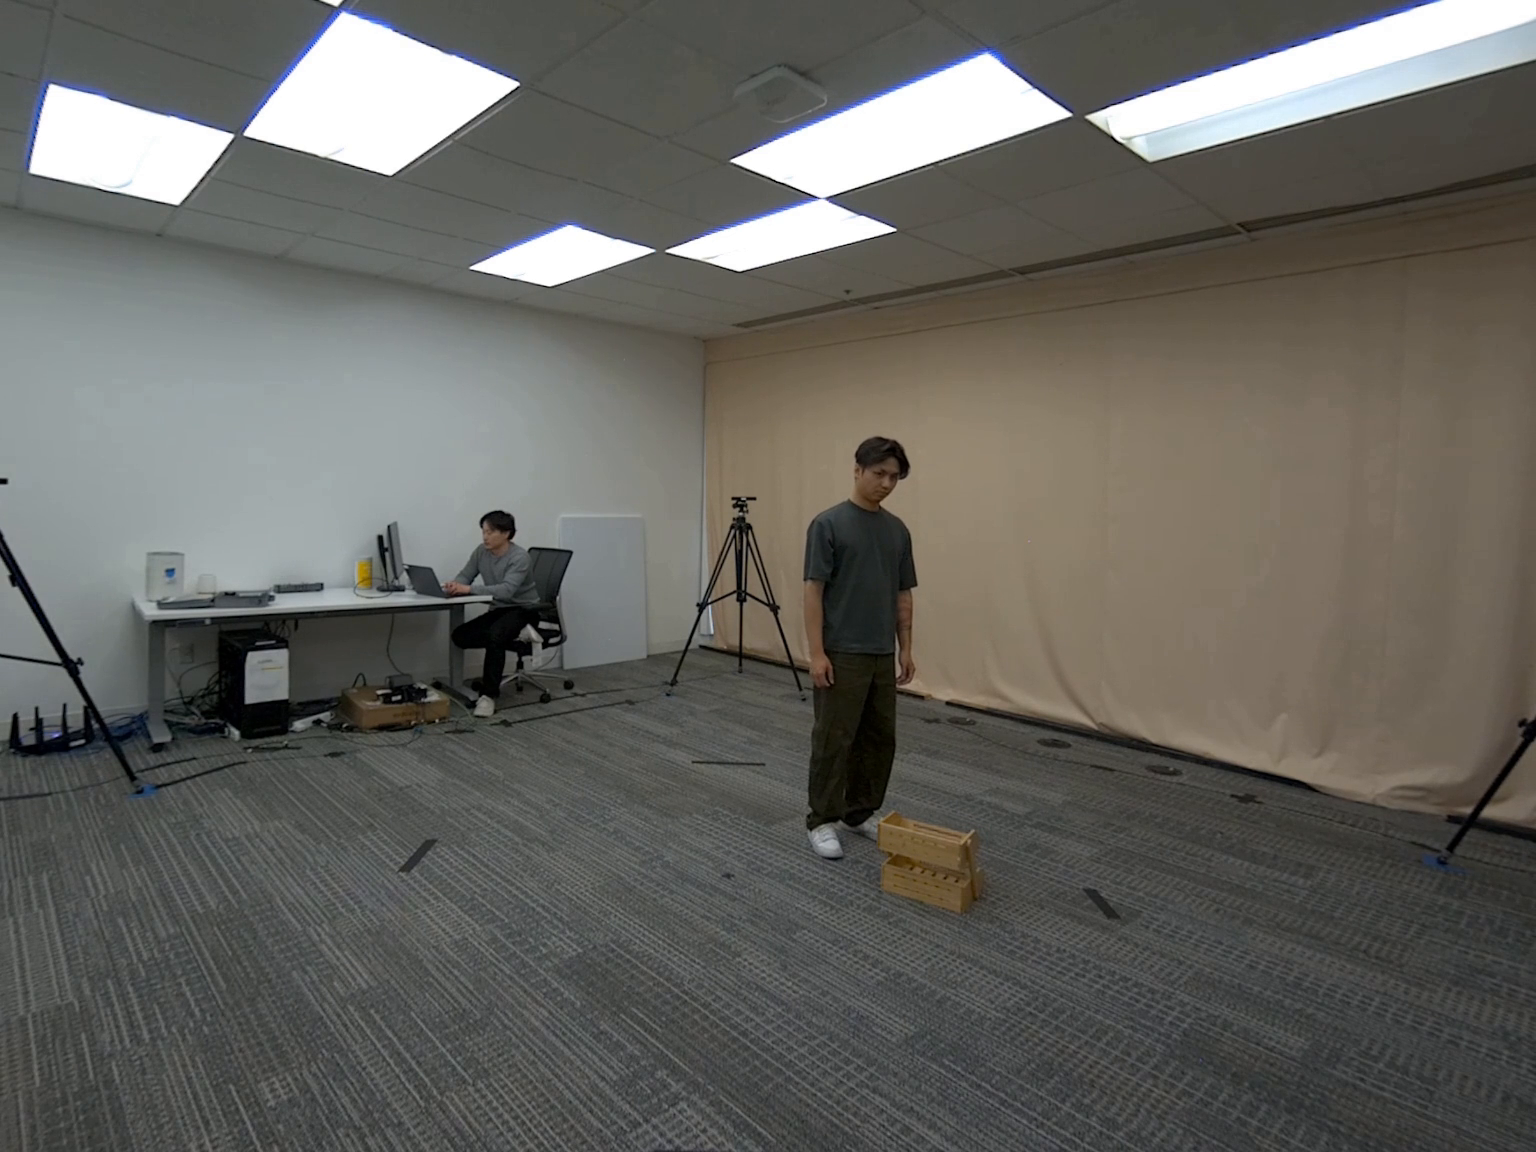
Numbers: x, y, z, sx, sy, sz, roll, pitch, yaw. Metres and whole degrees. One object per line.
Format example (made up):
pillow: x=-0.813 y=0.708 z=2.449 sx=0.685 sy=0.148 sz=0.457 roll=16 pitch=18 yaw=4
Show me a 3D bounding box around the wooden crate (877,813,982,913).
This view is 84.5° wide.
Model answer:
wooden crate: x=0.582 y=1.000 z=3.022 sx=0.332 sy=0.272 sz=0.296 roll=4 pitch=5 yaw=32
